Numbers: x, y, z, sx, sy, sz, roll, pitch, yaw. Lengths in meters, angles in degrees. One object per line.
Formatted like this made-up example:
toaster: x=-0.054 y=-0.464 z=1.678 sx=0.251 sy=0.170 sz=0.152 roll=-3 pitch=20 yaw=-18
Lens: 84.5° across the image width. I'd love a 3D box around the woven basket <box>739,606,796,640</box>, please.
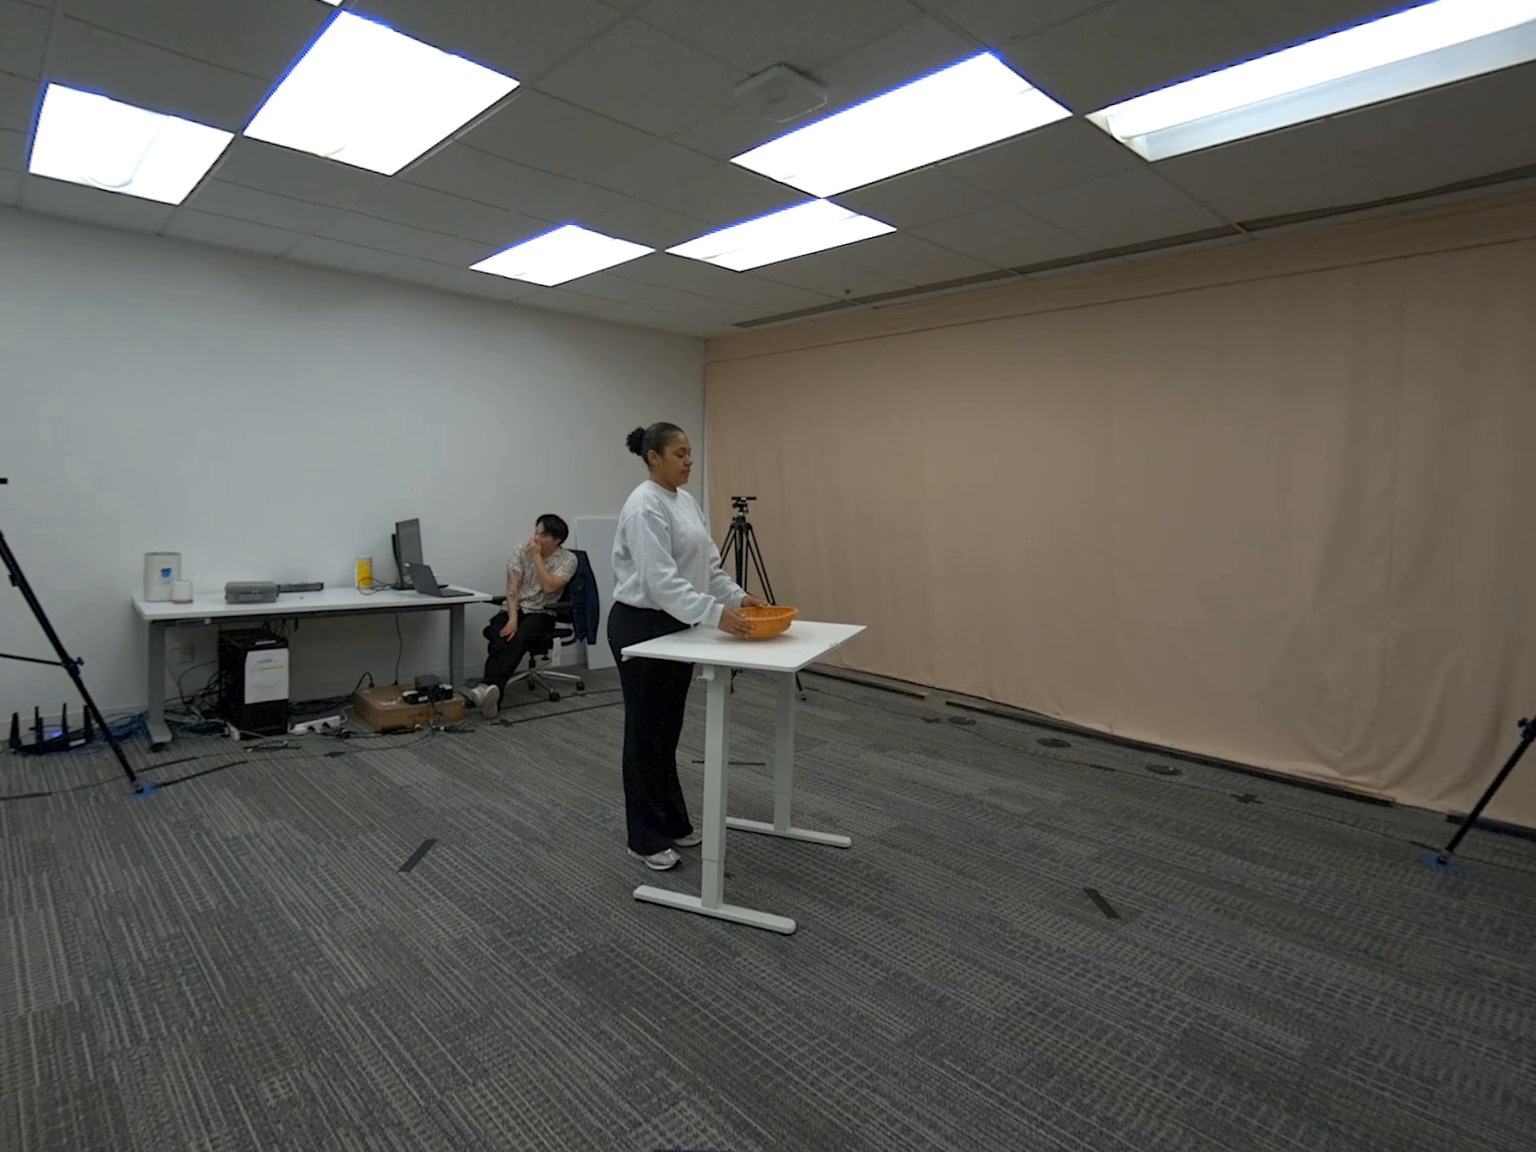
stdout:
woven basket: x=-0.075 y=0.162 z=3.095 sx=0.258 sy=0.073 sz=0.343 roll=5 pitch=7 yaw=33
